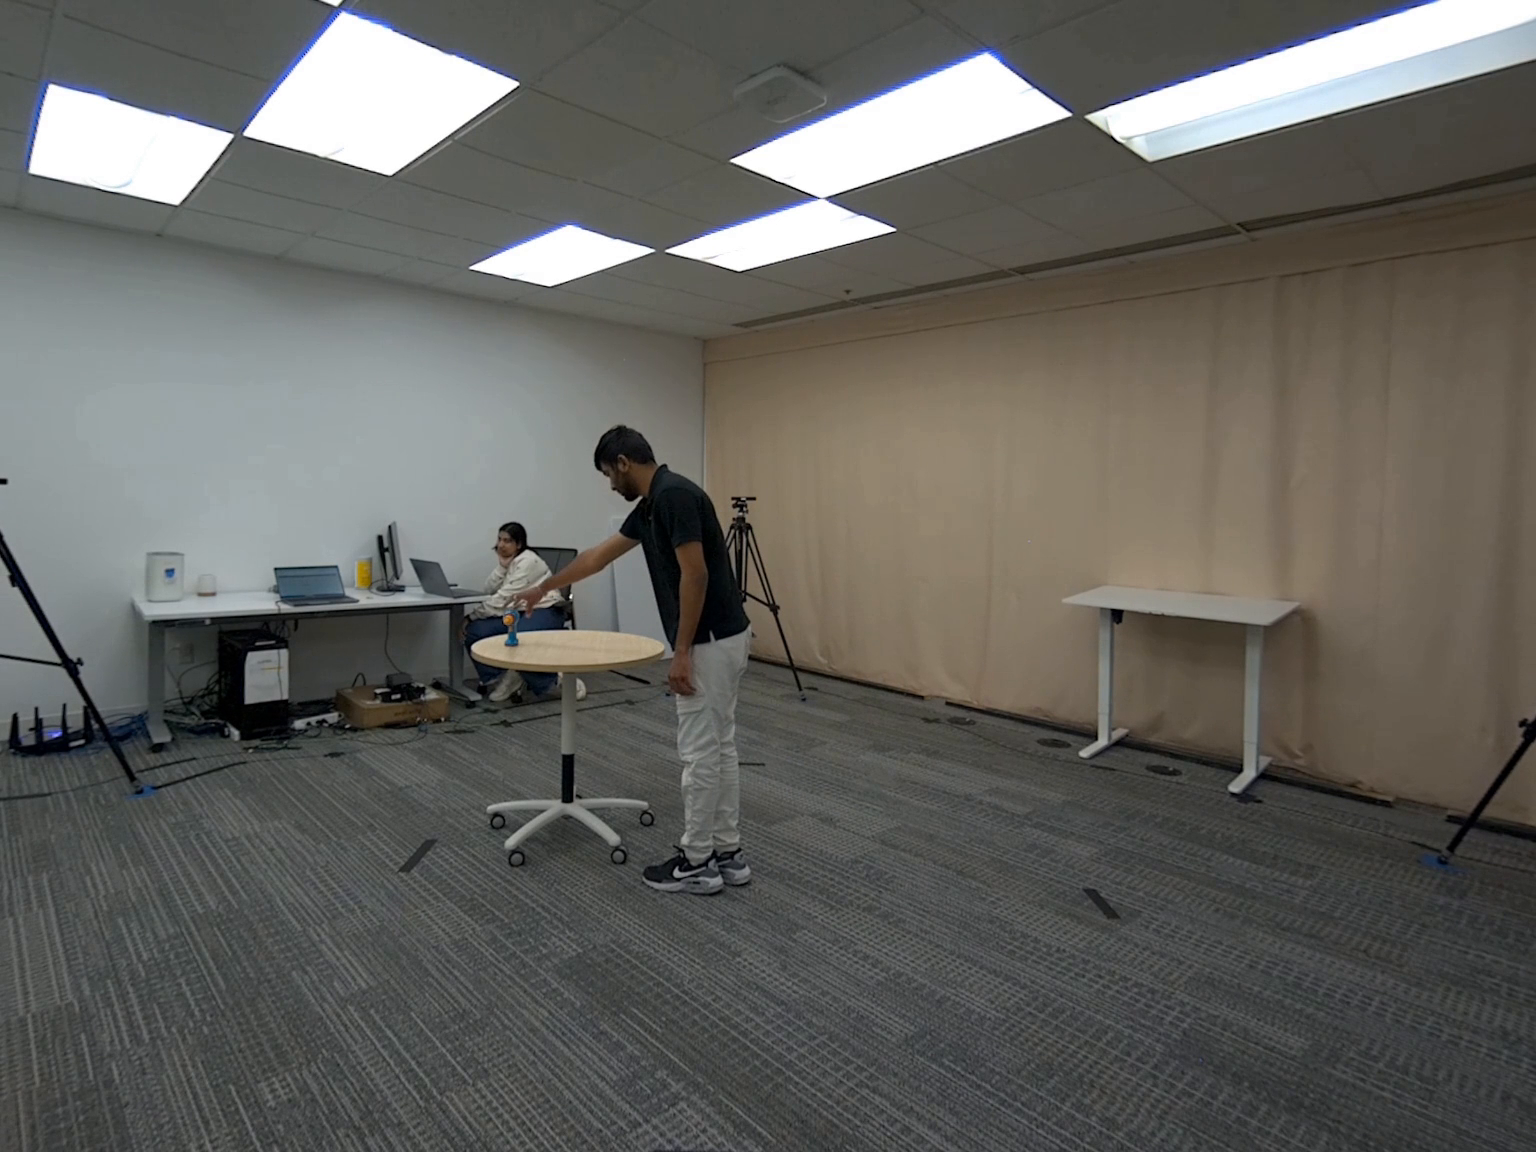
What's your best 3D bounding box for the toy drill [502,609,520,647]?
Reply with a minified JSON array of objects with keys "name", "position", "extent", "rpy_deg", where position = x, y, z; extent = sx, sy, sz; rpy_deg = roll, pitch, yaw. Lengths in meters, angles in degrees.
[{"name":"toy drill","position":[-1.031,0.209,3.334],"extent":[0.061,0.146,0.170],"rpy_deg":[0,4,-3]}]
